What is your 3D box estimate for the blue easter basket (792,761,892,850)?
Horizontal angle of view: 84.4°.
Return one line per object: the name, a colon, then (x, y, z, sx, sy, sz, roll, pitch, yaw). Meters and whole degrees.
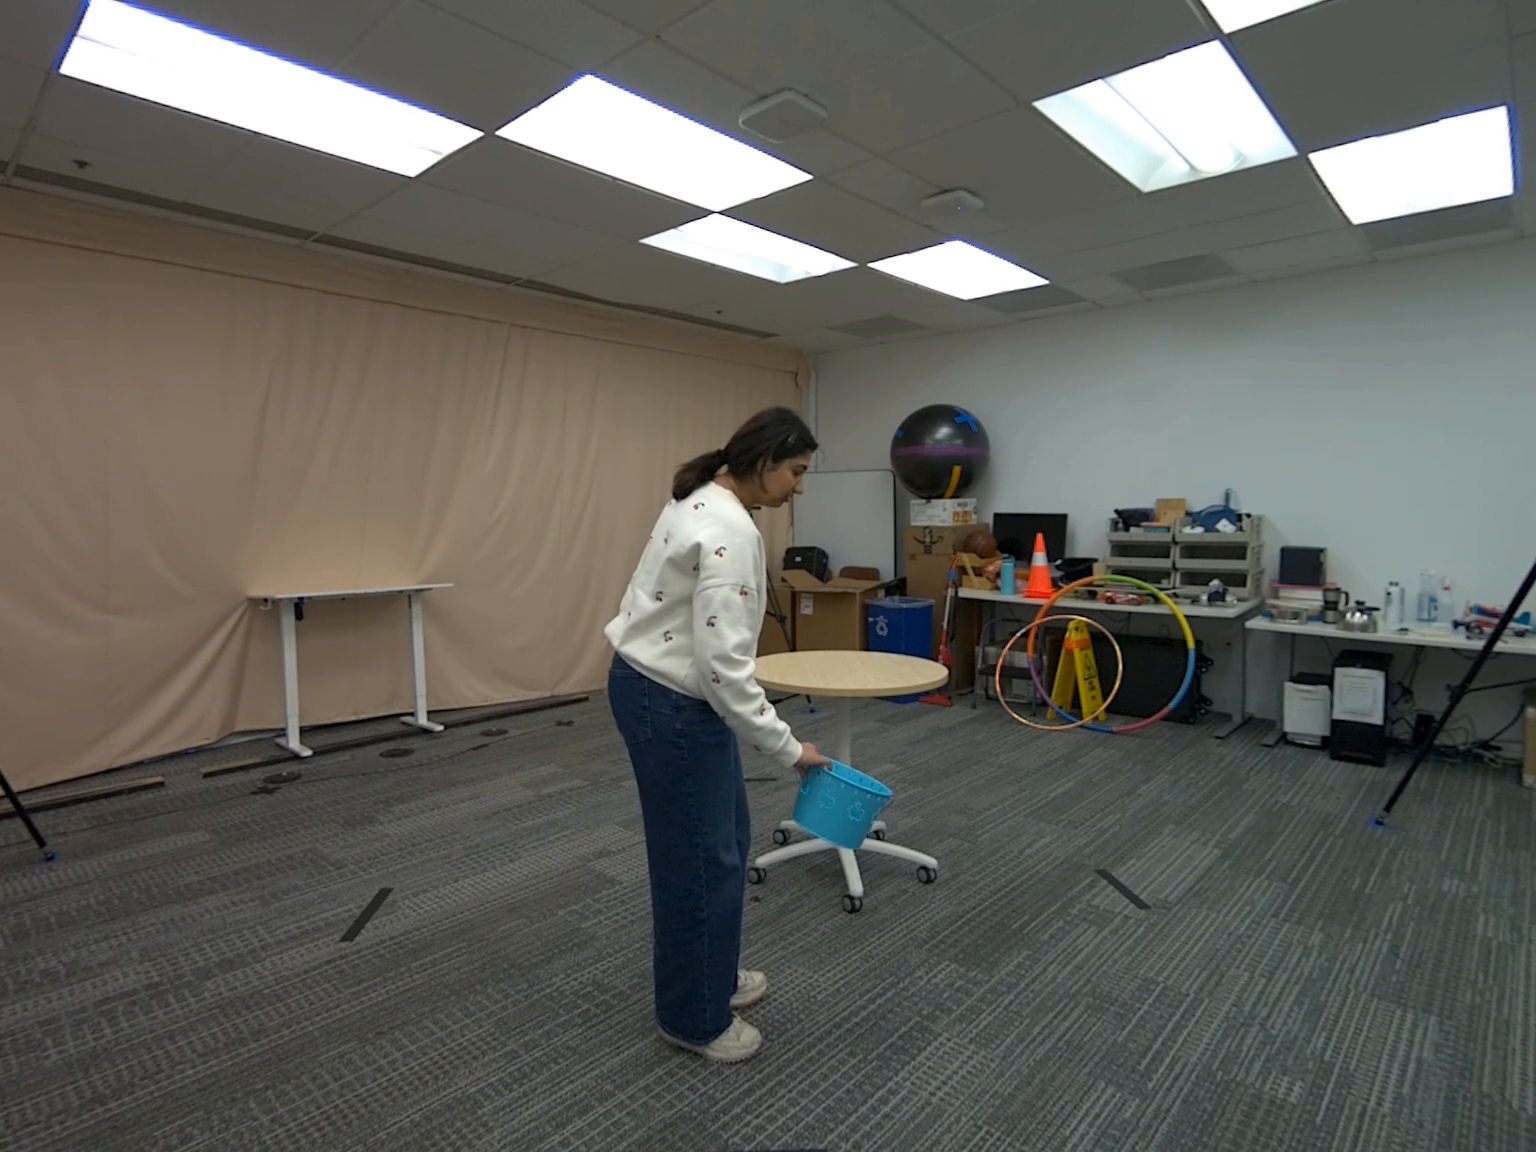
blue easter basket: (0.171, 0.558, 2.043, 0.243, 0.156, 0.244, 23, 0, -2)
